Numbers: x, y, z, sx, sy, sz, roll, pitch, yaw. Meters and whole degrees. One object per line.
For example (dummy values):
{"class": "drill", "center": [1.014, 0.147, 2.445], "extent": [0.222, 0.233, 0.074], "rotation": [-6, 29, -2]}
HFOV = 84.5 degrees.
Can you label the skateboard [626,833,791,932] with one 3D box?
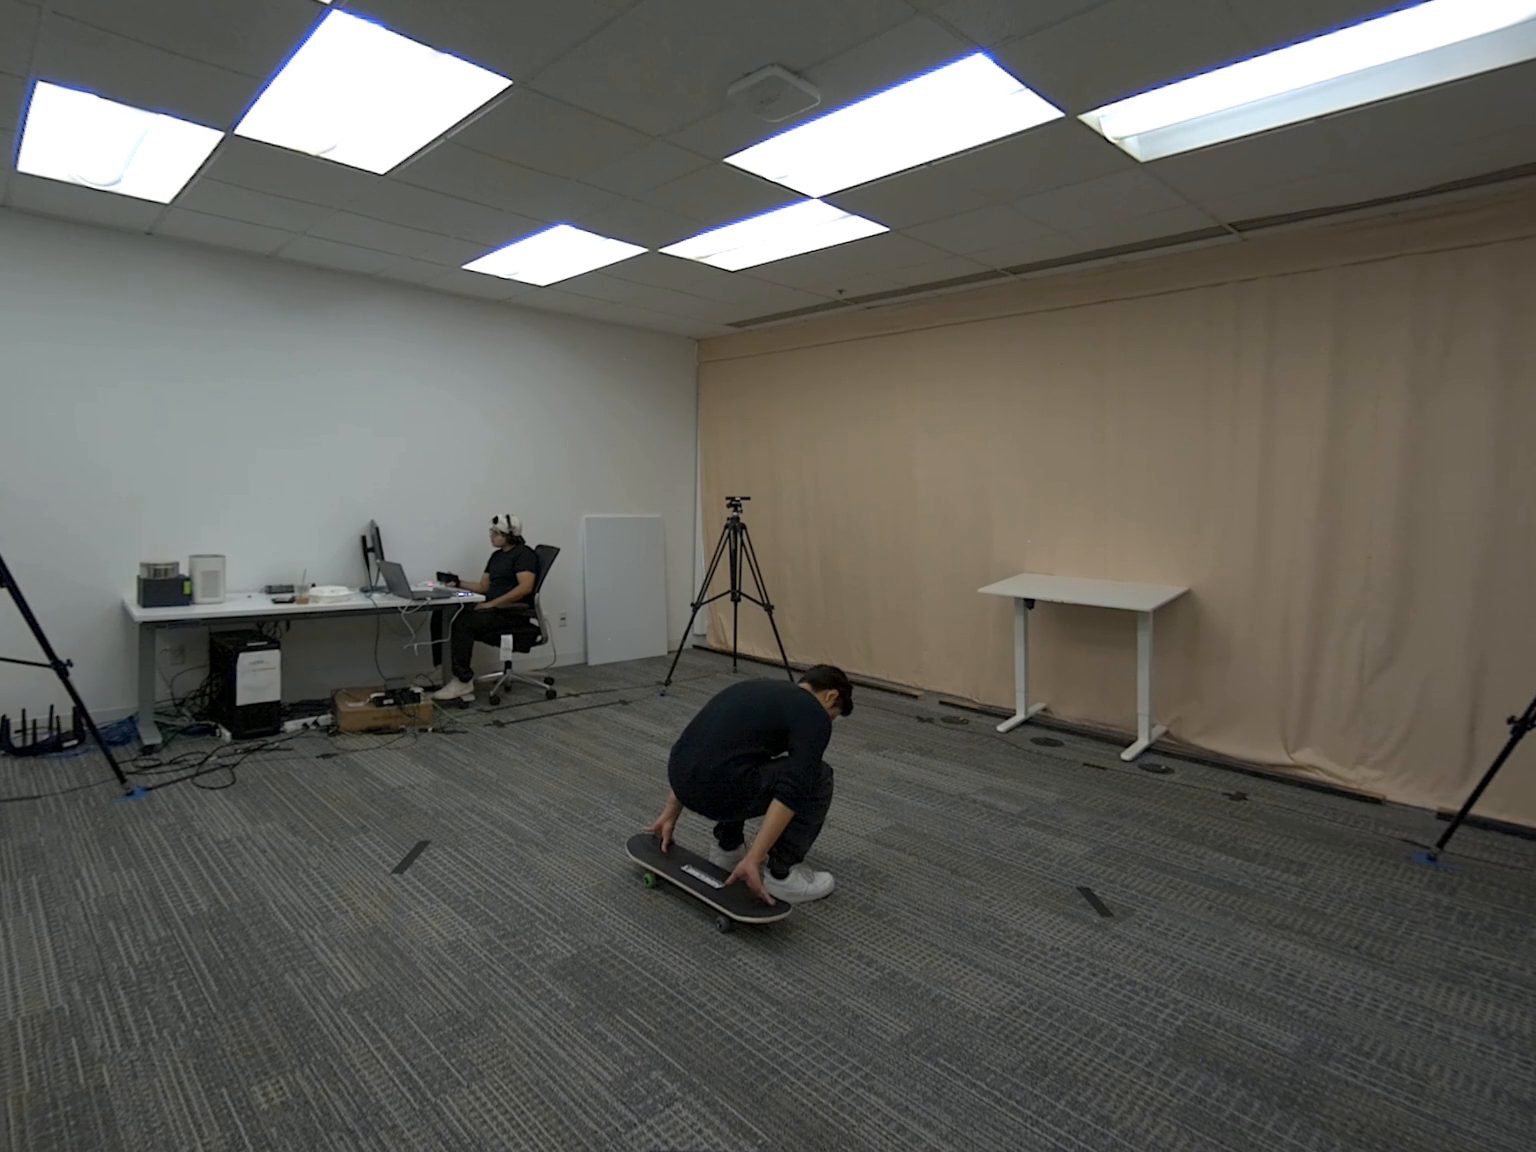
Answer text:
{"class": "skateboard", "center": [-0.237, 1.061, 2.899], "extent": [0.189, 0.110, 0.806], "rotation": [-2, 6, -42]}
